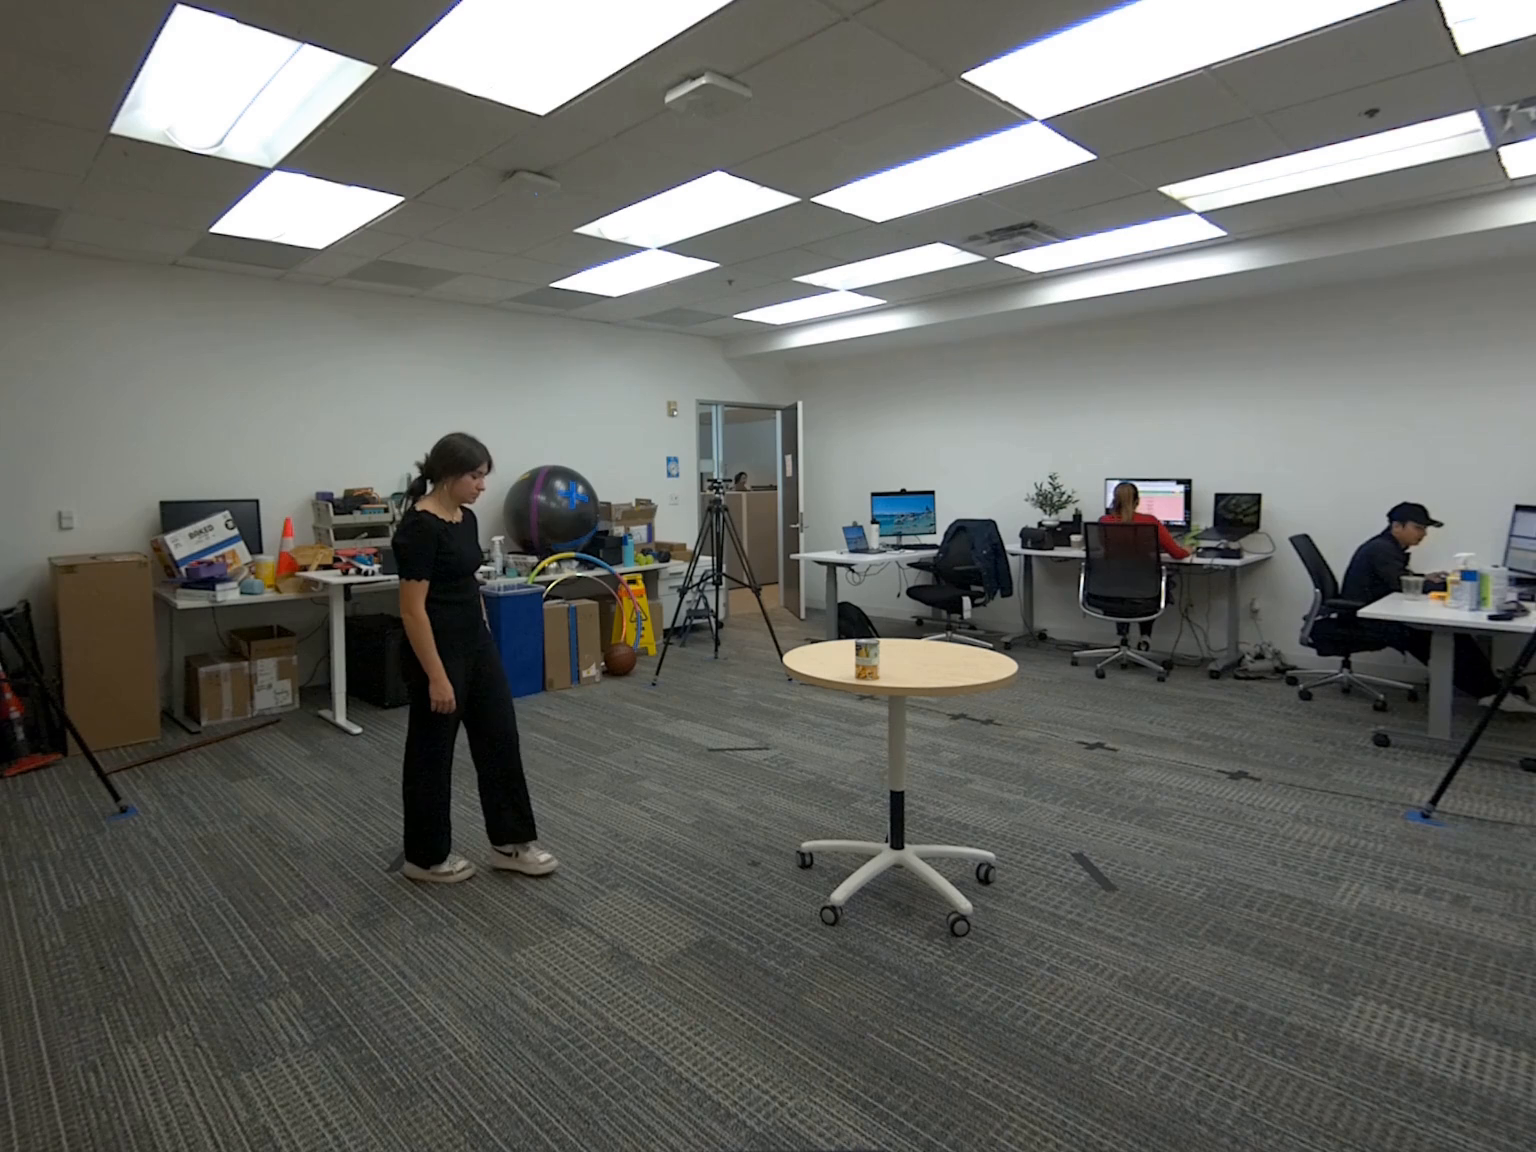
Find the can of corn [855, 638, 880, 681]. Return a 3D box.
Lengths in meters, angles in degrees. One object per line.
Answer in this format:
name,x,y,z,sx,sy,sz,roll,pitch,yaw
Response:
can of corn,0.303,0.254,2.599,0.074,0.110,0.075,0,8,-2
